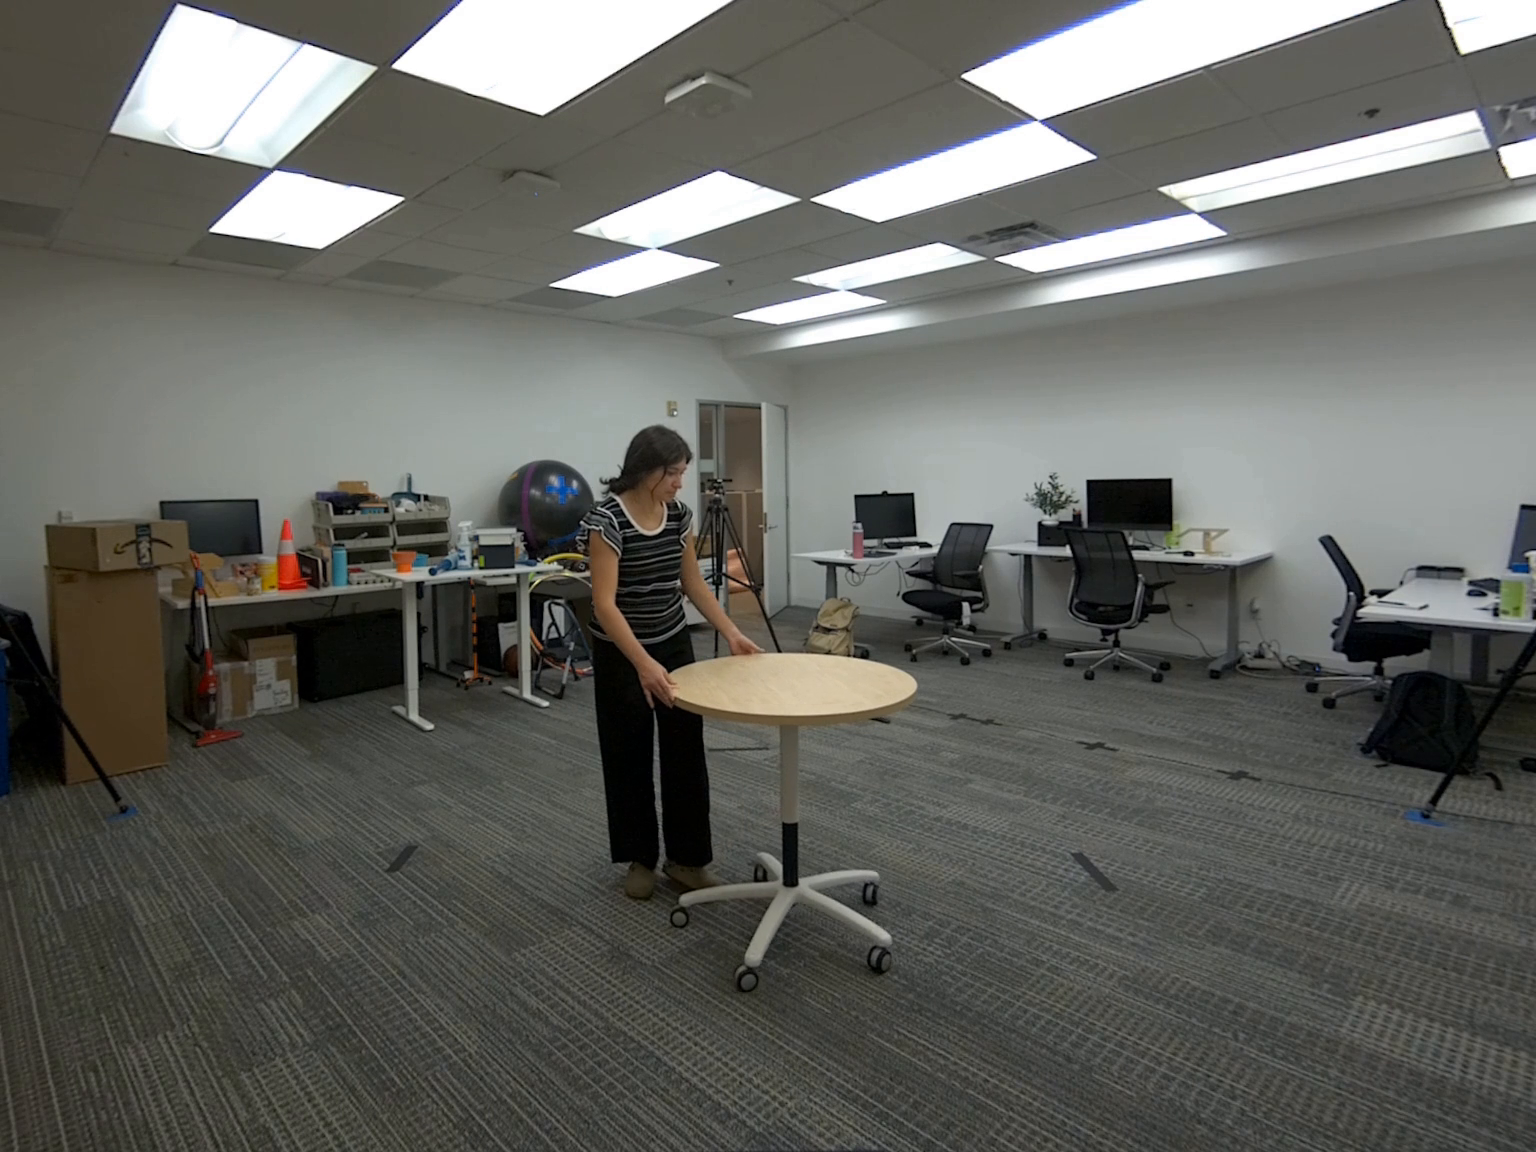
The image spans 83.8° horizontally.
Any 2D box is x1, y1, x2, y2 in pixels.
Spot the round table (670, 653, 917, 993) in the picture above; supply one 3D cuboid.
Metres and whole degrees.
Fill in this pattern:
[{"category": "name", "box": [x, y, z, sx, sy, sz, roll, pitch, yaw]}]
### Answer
[{"category": "round table", "box": [0.083, 0.705, 2.629, 0.784, 0.783, 0.790, -1, 6, -2]}]
